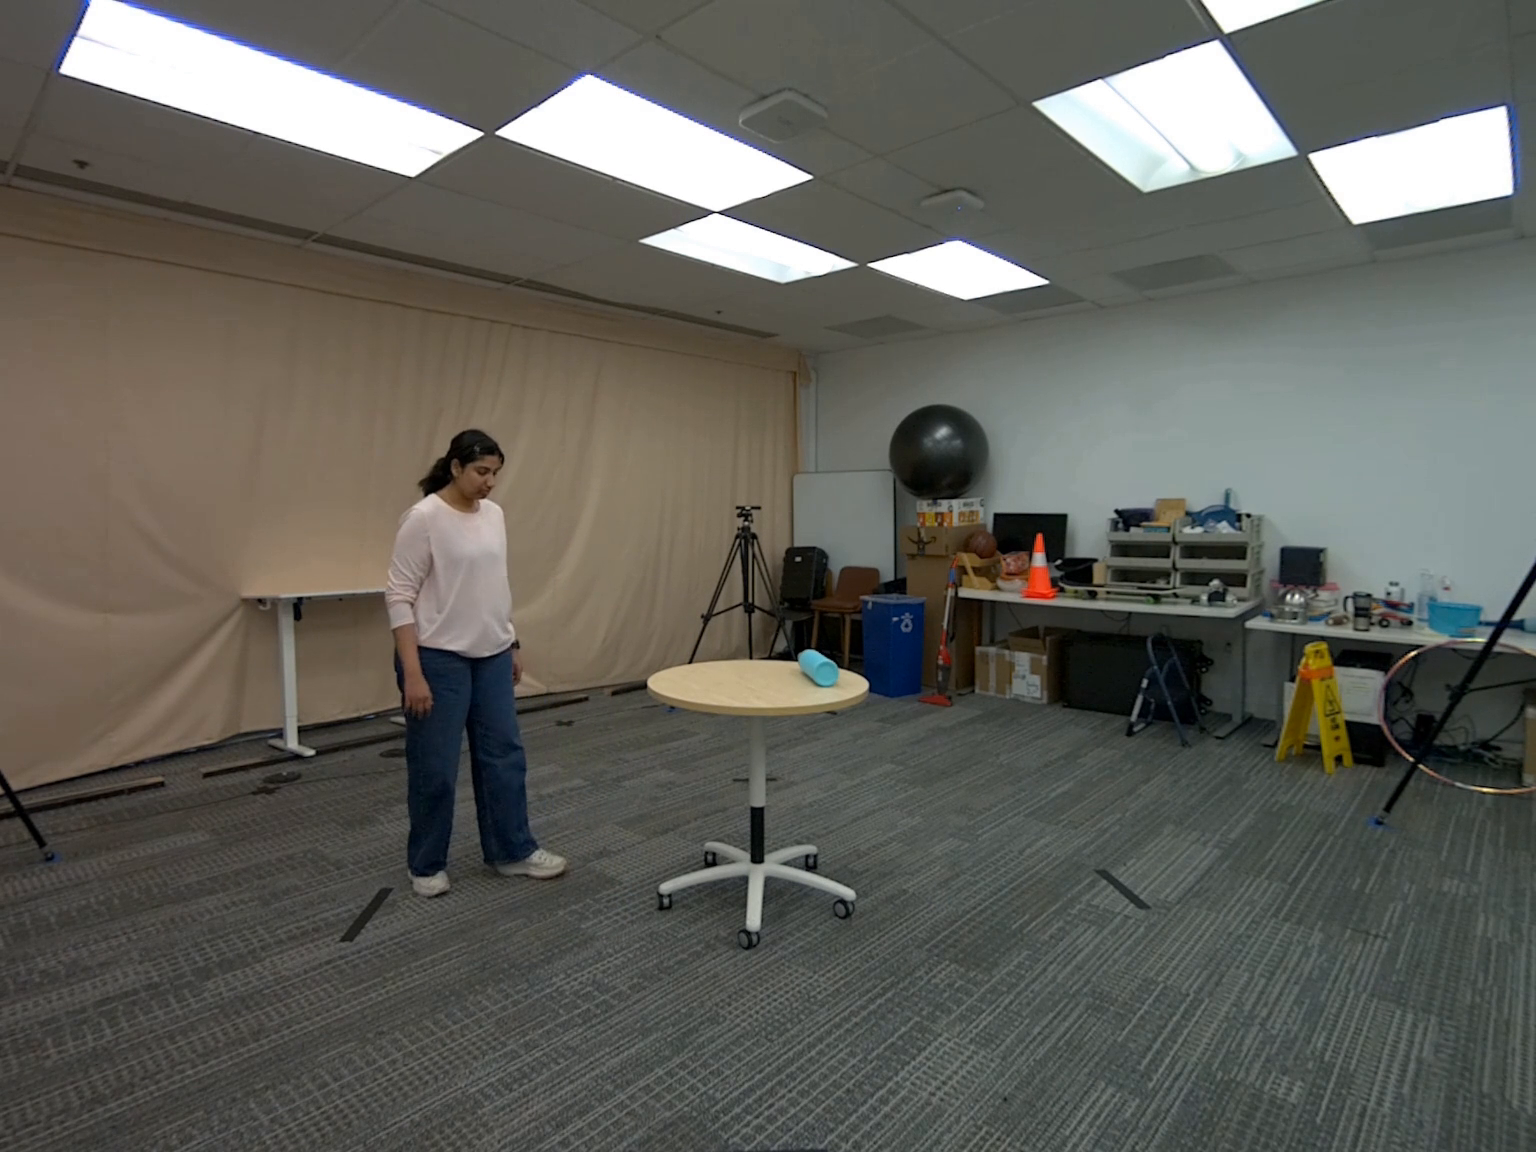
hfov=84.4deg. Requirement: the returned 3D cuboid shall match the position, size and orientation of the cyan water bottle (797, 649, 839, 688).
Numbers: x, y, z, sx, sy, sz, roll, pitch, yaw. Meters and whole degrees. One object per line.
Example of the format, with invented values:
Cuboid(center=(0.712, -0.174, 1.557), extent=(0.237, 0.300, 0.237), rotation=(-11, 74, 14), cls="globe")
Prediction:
Cuboid(center=(0.174, 0.320, 2.960), extent=(0.092, 0.092, 0.286), rotation=(-1, 5, -8), cls="cyan water bottle")
